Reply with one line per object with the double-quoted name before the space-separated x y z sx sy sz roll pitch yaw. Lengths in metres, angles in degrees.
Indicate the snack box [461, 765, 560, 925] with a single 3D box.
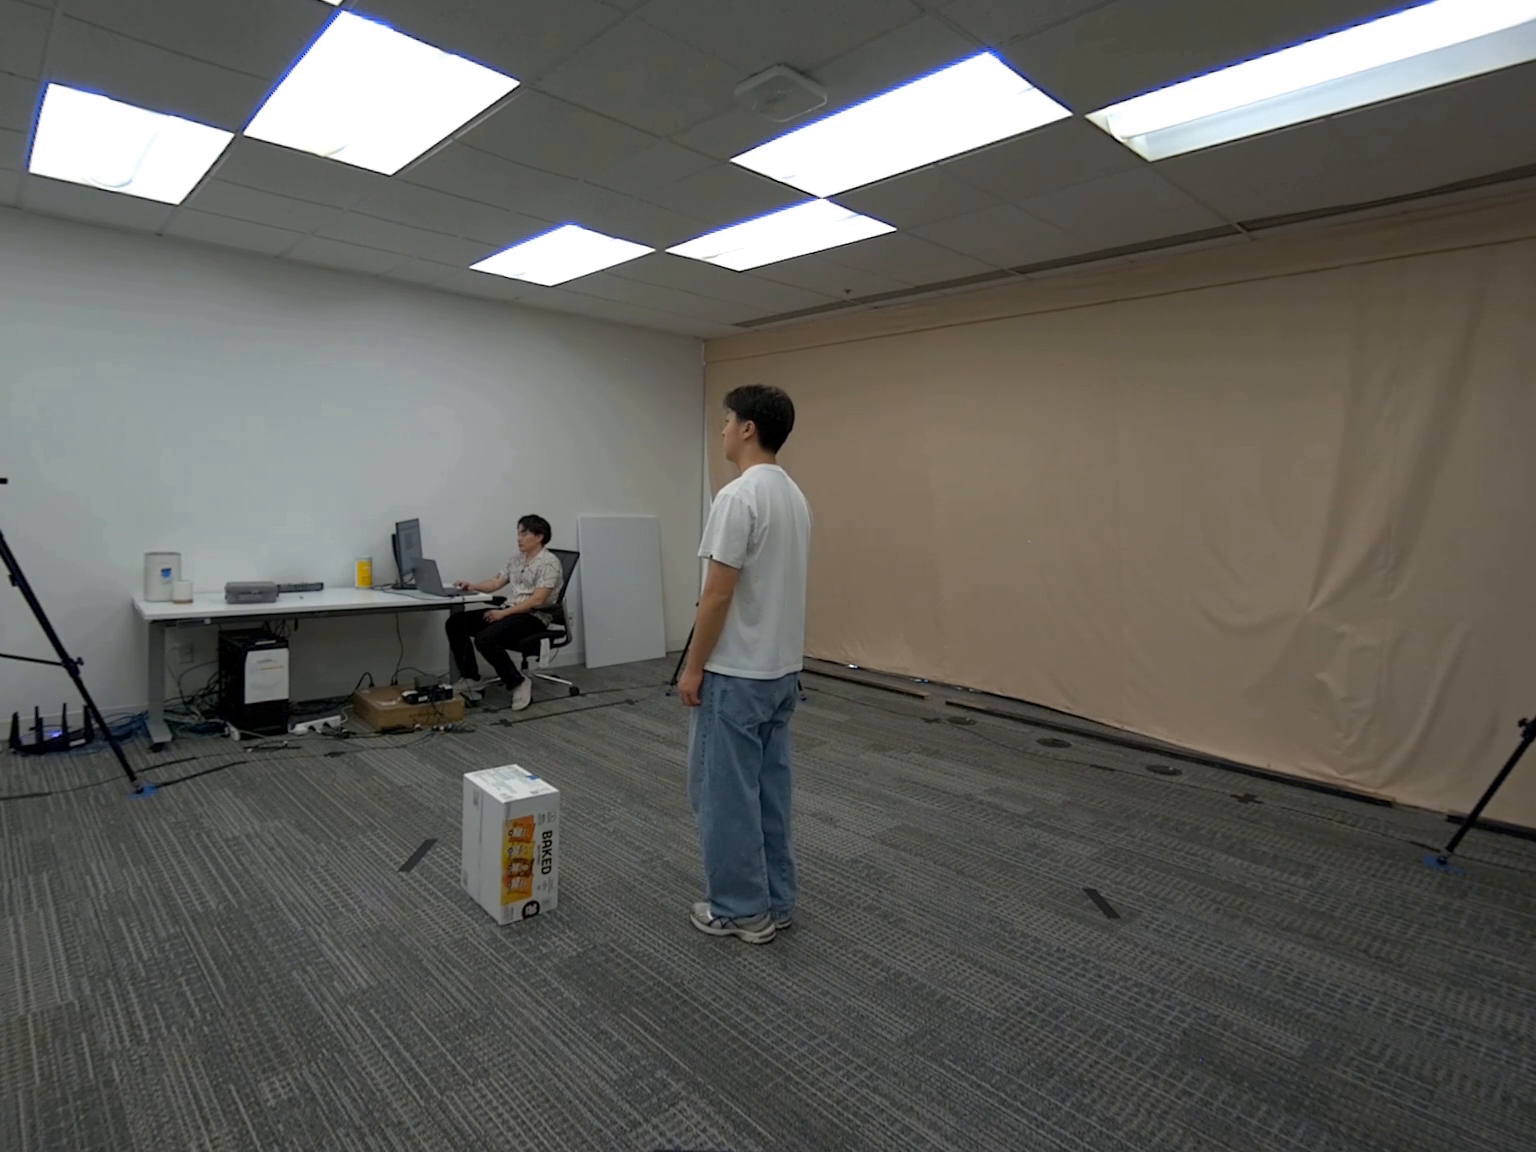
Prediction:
"snack box" -0.888 0.904 2.882 0.201 0.404 0.349 -1 5 -41
